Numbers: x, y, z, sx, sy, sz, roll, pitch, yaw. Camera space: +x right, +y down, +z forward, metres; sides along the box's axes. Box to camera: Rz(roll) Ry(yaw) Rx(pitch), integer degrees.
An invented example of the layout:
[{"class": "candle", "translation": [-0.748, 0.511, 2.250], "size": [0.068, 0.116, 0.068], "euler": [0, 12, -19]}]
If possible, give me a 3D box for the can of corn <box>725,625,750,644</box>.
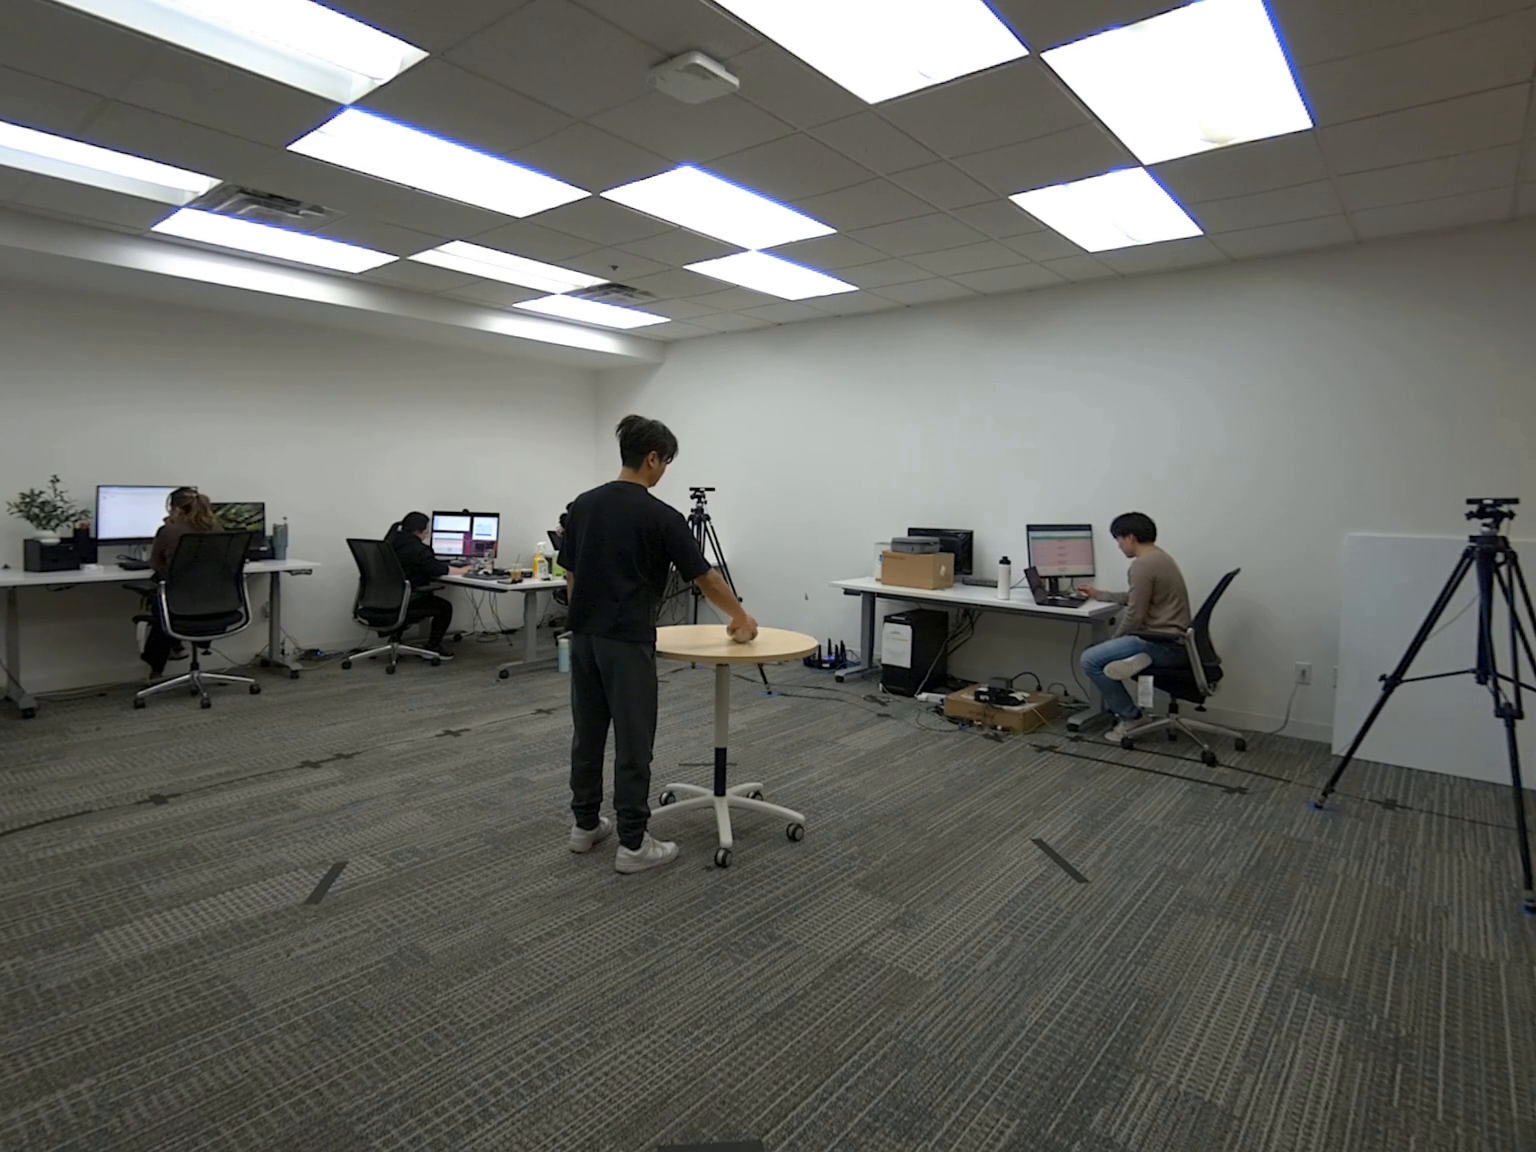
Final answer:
[{"class": "can of corn", "translation": [-0.127, 0.218, 3.409], "size": [0.073, 0.074, 0.112], "euler": [0, 7, -9]}]
